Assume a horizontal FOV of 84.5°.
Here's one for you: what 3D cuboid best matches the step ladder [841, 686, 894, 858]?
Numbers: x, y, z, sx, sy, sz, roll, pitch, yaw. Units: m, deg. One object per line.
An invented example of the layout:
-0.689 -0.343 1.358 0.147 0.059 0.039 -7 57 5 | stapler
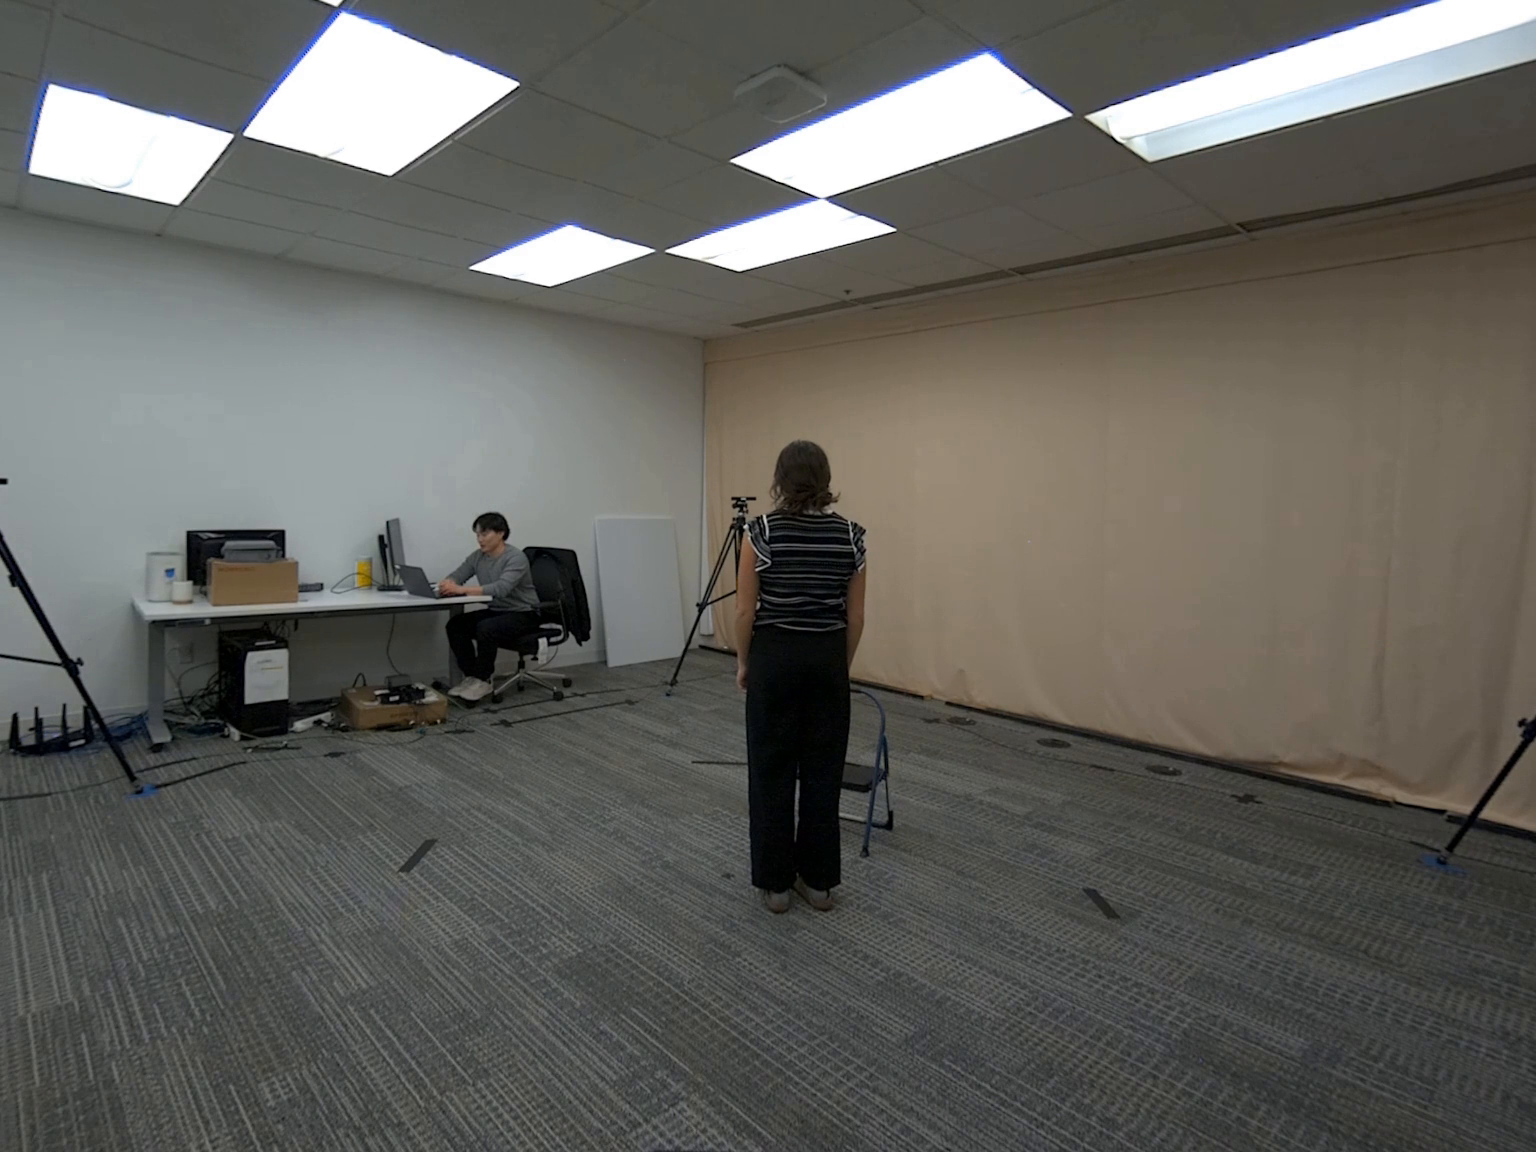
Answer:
0.281 0.779 3.540 0.440 0.605 0.342 4 3 29 | step ladder
